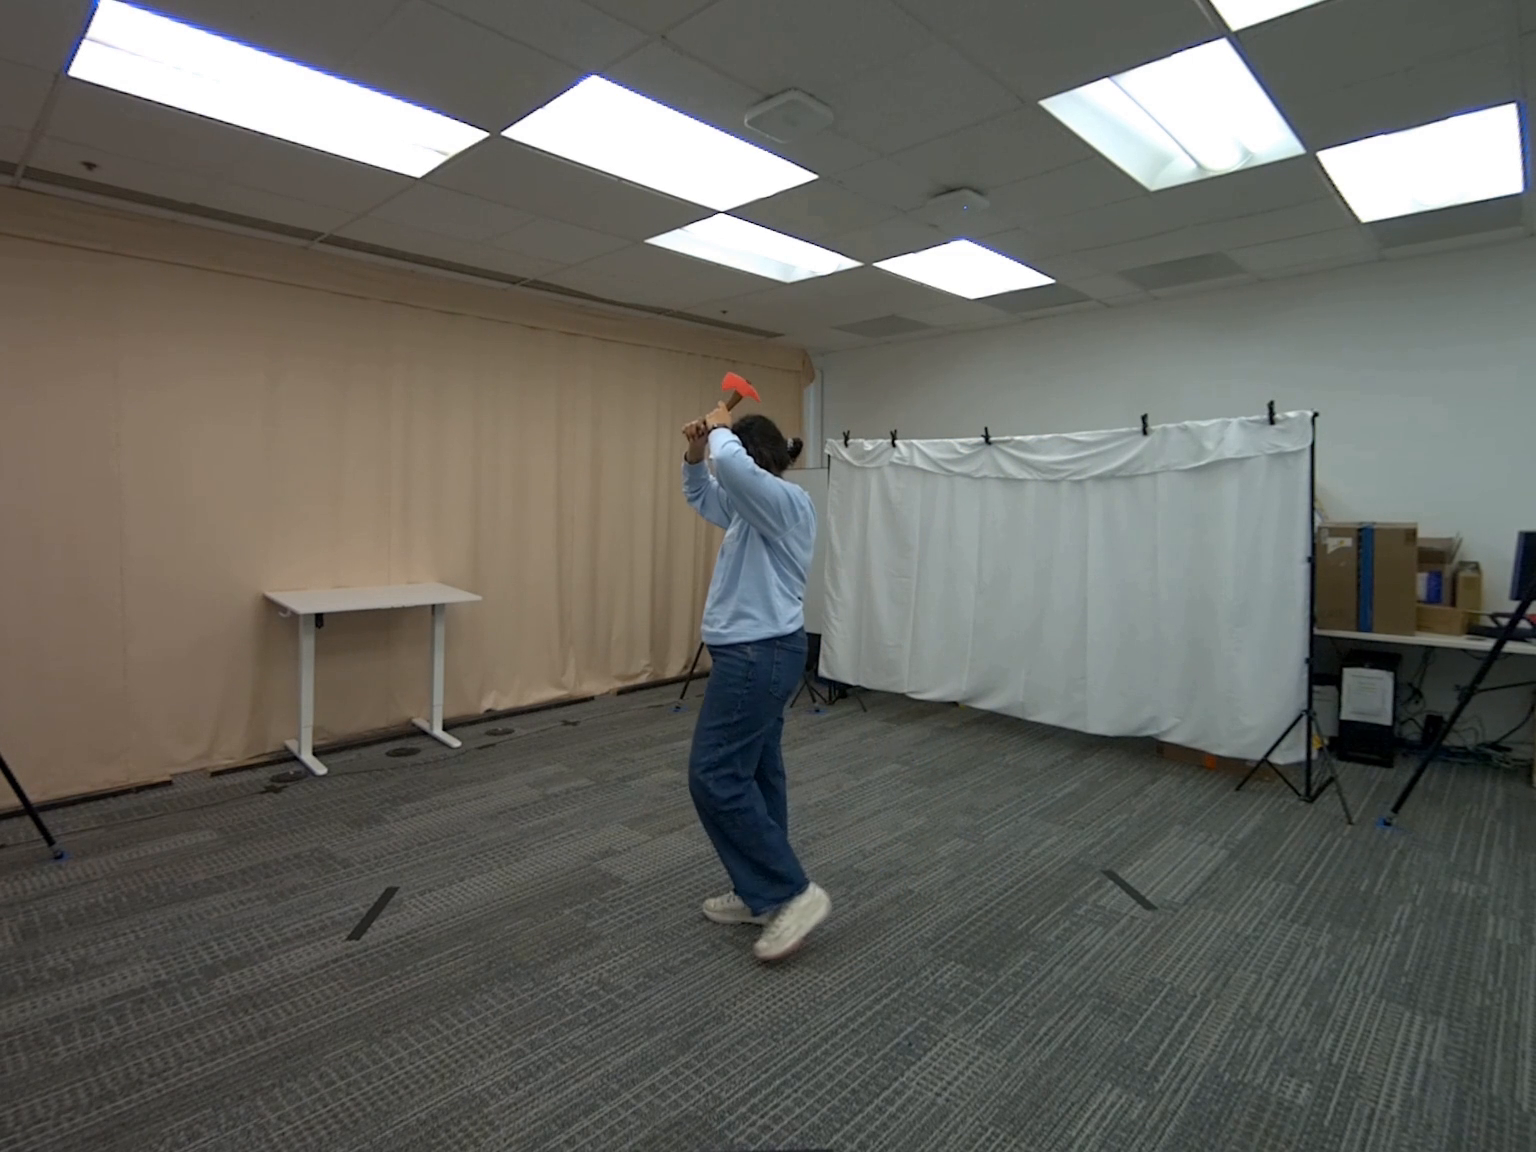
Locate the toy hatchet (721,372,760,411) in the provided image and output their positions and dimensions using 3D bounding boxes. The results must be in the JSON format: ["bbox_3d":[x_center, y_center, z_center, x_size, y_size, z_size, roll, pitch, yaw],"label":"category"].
[{"bbox_3d":[-0.165,-0.555,2.700,0.271,0.129,0.030,-30,11,9],"label":"toy hatchet"}]
